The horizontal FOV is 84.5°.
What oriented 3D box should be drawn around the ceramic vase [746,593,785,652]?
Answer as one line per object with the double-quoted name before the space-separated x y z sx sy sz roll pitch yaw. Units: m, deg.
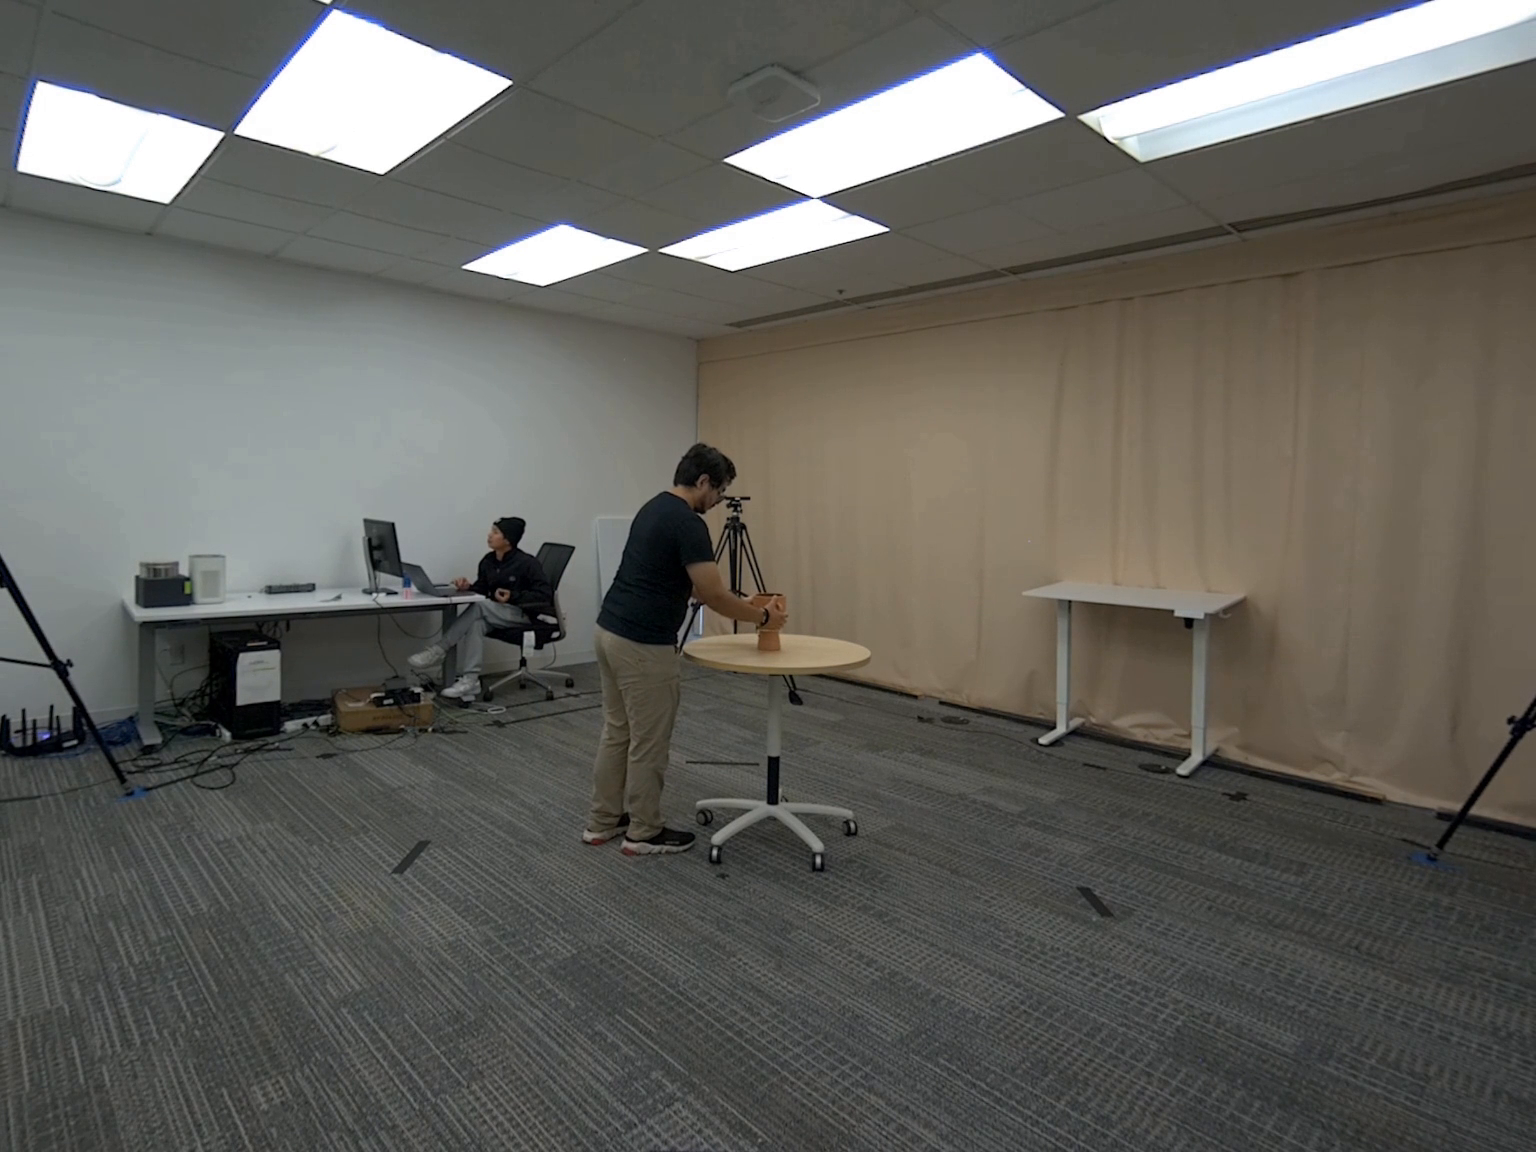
"ceramic vase" 0.000 0.189 3.433 0.134 0.219 0.159 0 5 -2
